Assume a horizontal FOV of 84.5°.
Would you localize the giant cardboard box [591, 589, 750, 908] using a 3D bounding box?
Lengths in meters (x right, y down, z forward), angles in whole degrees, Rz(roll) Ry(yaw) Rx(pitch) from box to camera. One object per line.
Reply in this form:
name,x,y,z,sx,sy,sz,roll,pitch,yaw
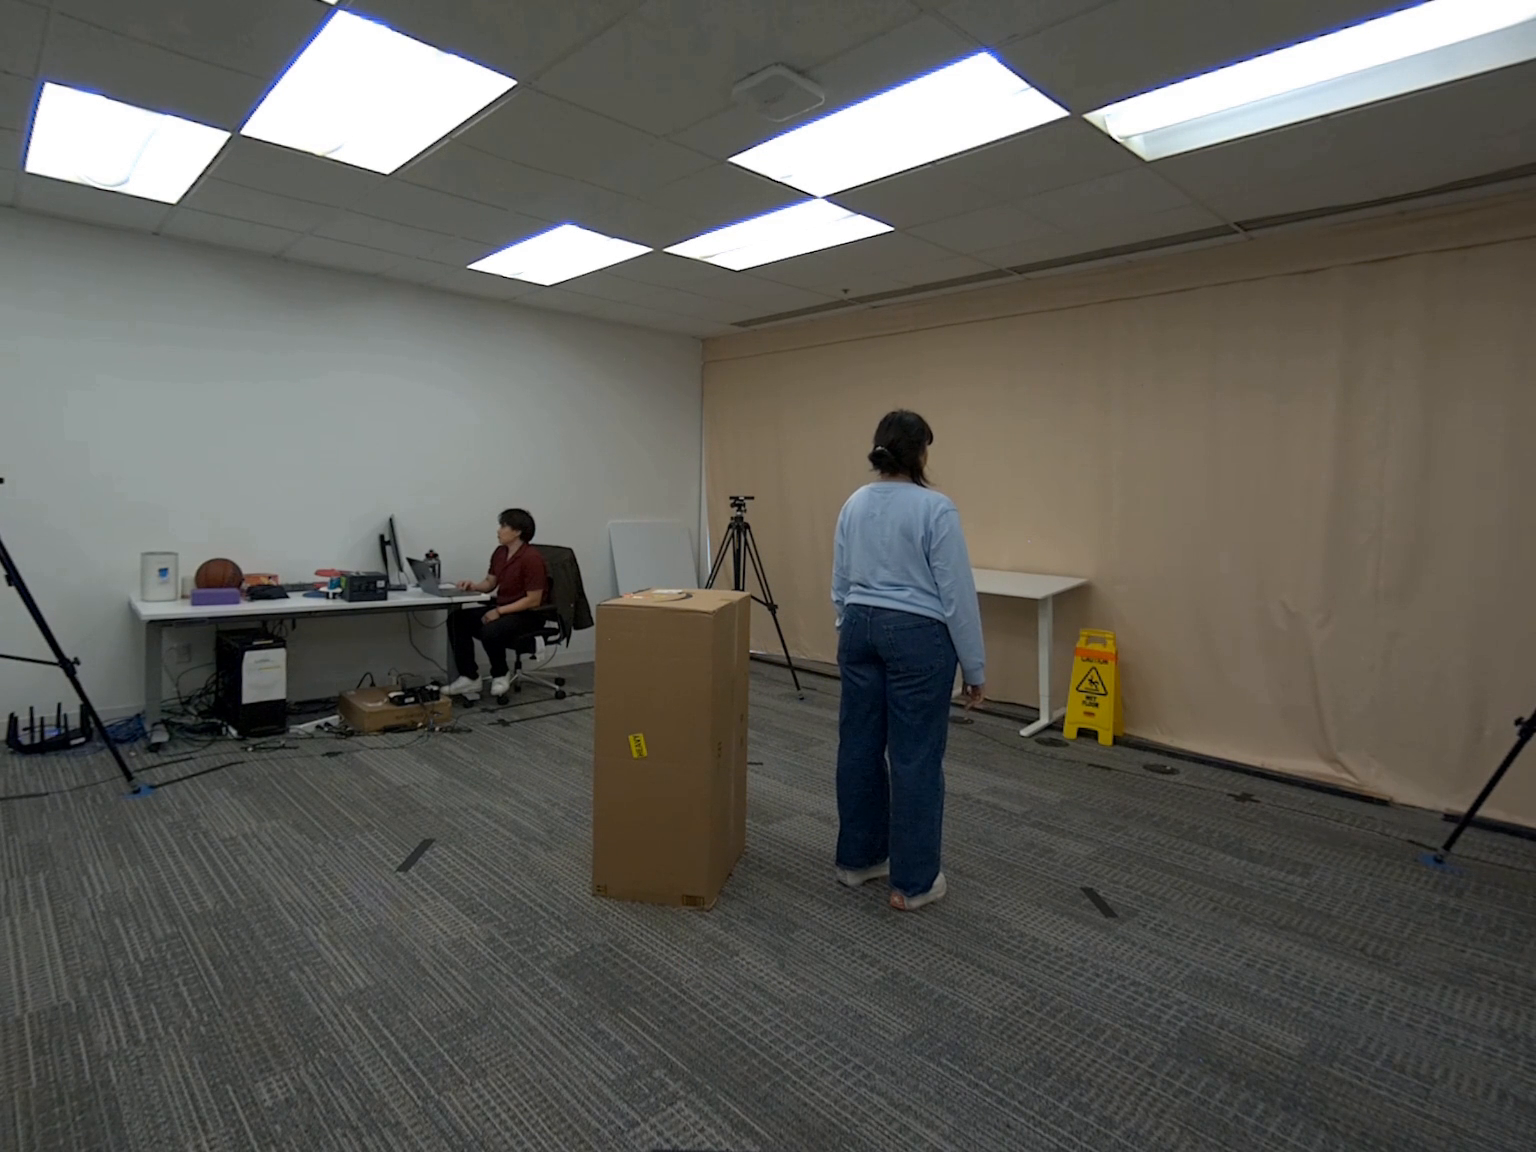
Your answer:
giant cardboard box,-0.343,0.587,3.131,0.431,1.023,0.572,2,3,12
